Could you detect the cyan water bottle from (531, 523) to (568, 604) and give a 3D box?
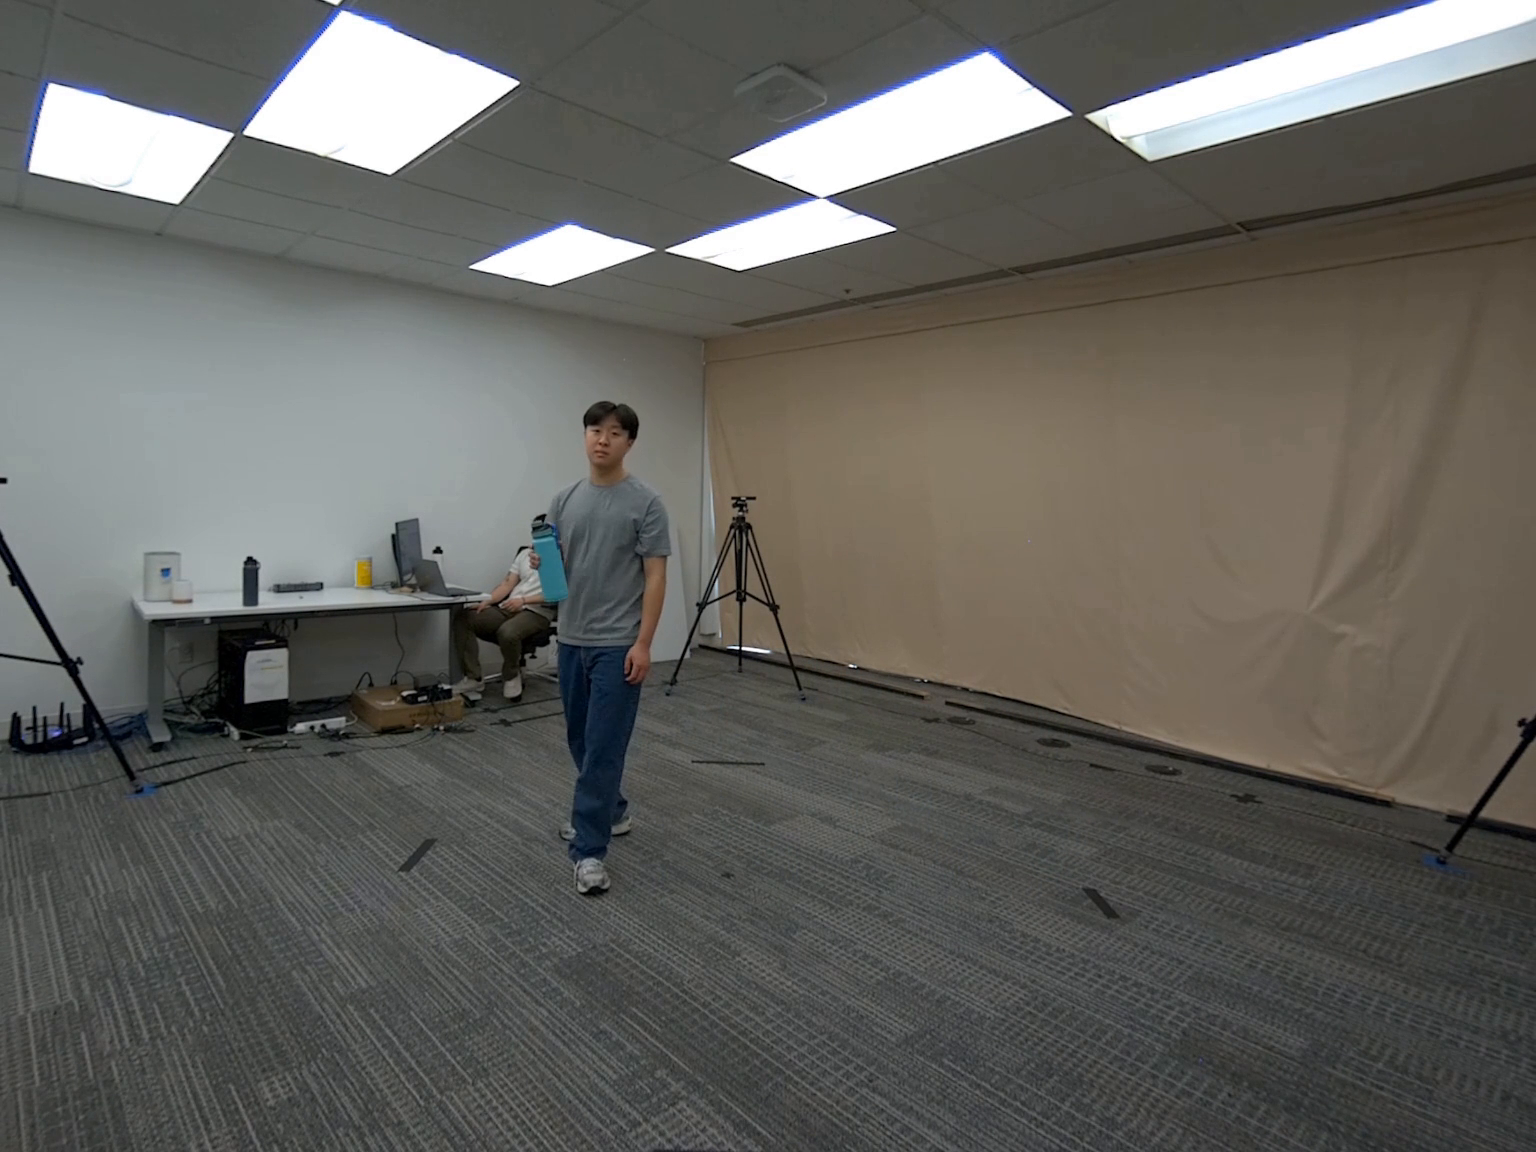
[{"bbox_3d":[-0.785,-0.059,2.961,0.092,0.281,0.093,-5,11,0],"label":"cyan water bottle"}]
